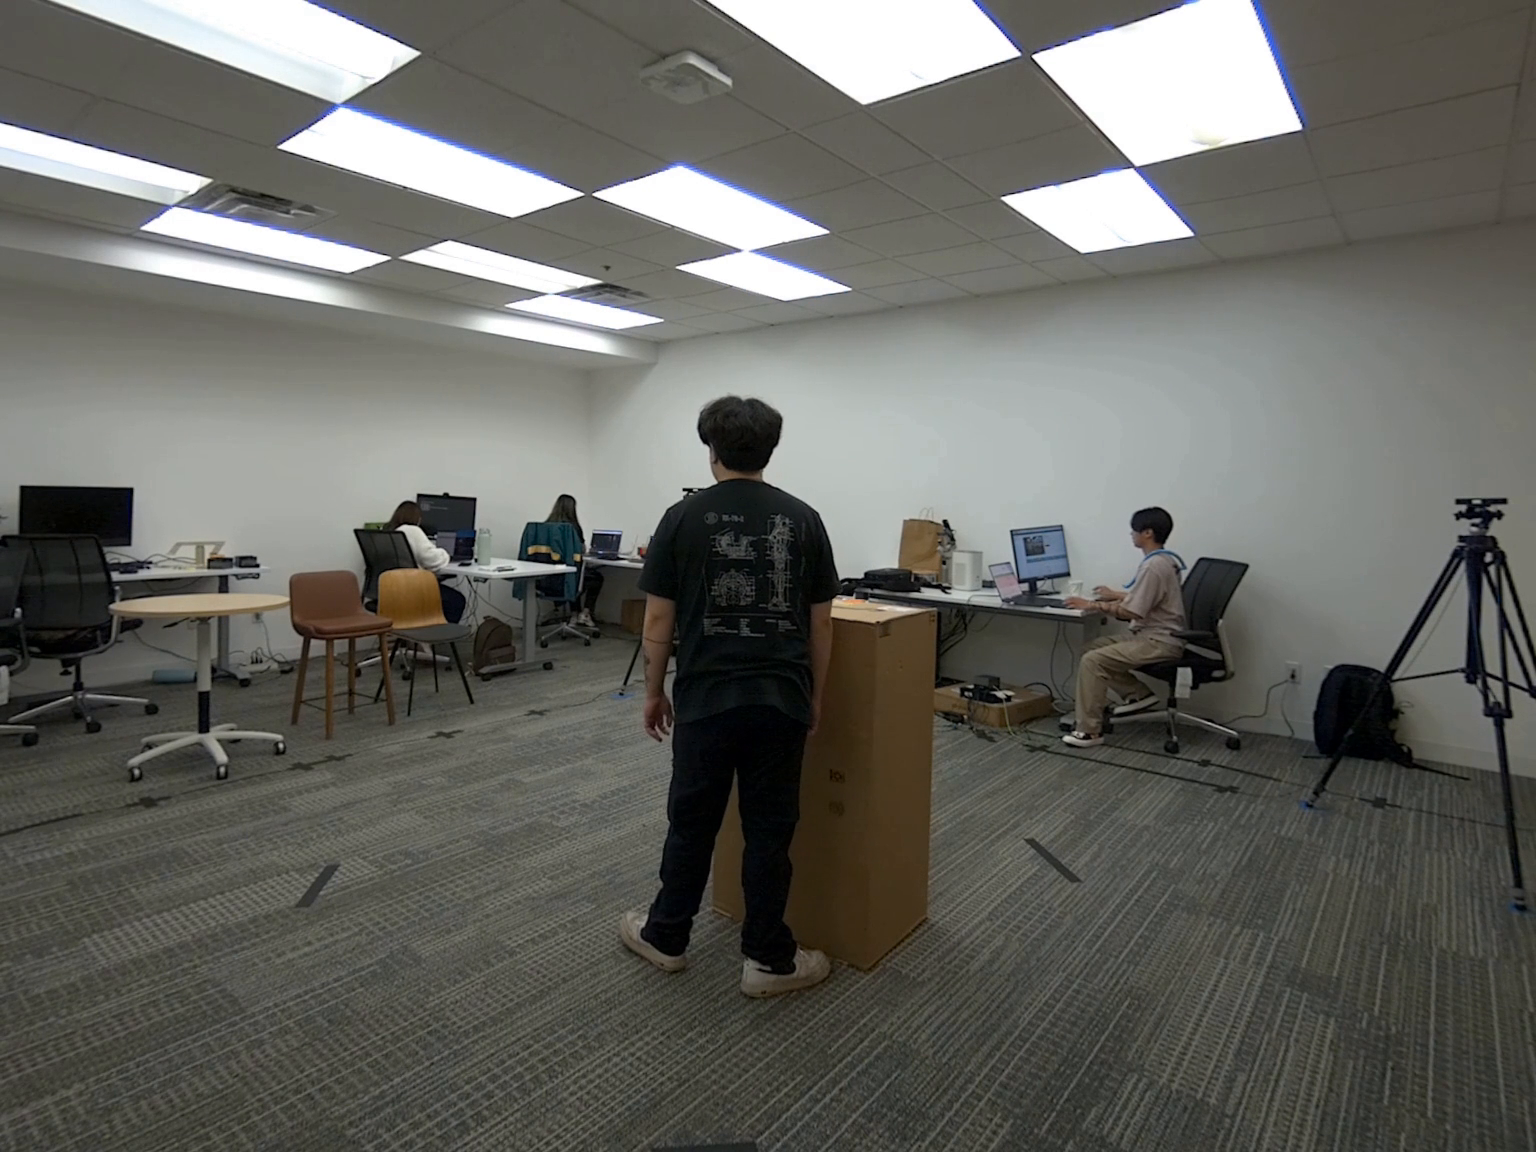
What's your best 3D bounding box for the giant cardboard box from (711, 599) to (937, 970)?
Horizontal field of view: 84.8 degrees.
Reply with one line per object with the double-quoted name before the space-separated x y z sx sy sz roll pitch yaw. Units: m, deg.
"giant cardboard box" 0.179 0.600 2.785 0.603 1.025 0.433 4 3 37
